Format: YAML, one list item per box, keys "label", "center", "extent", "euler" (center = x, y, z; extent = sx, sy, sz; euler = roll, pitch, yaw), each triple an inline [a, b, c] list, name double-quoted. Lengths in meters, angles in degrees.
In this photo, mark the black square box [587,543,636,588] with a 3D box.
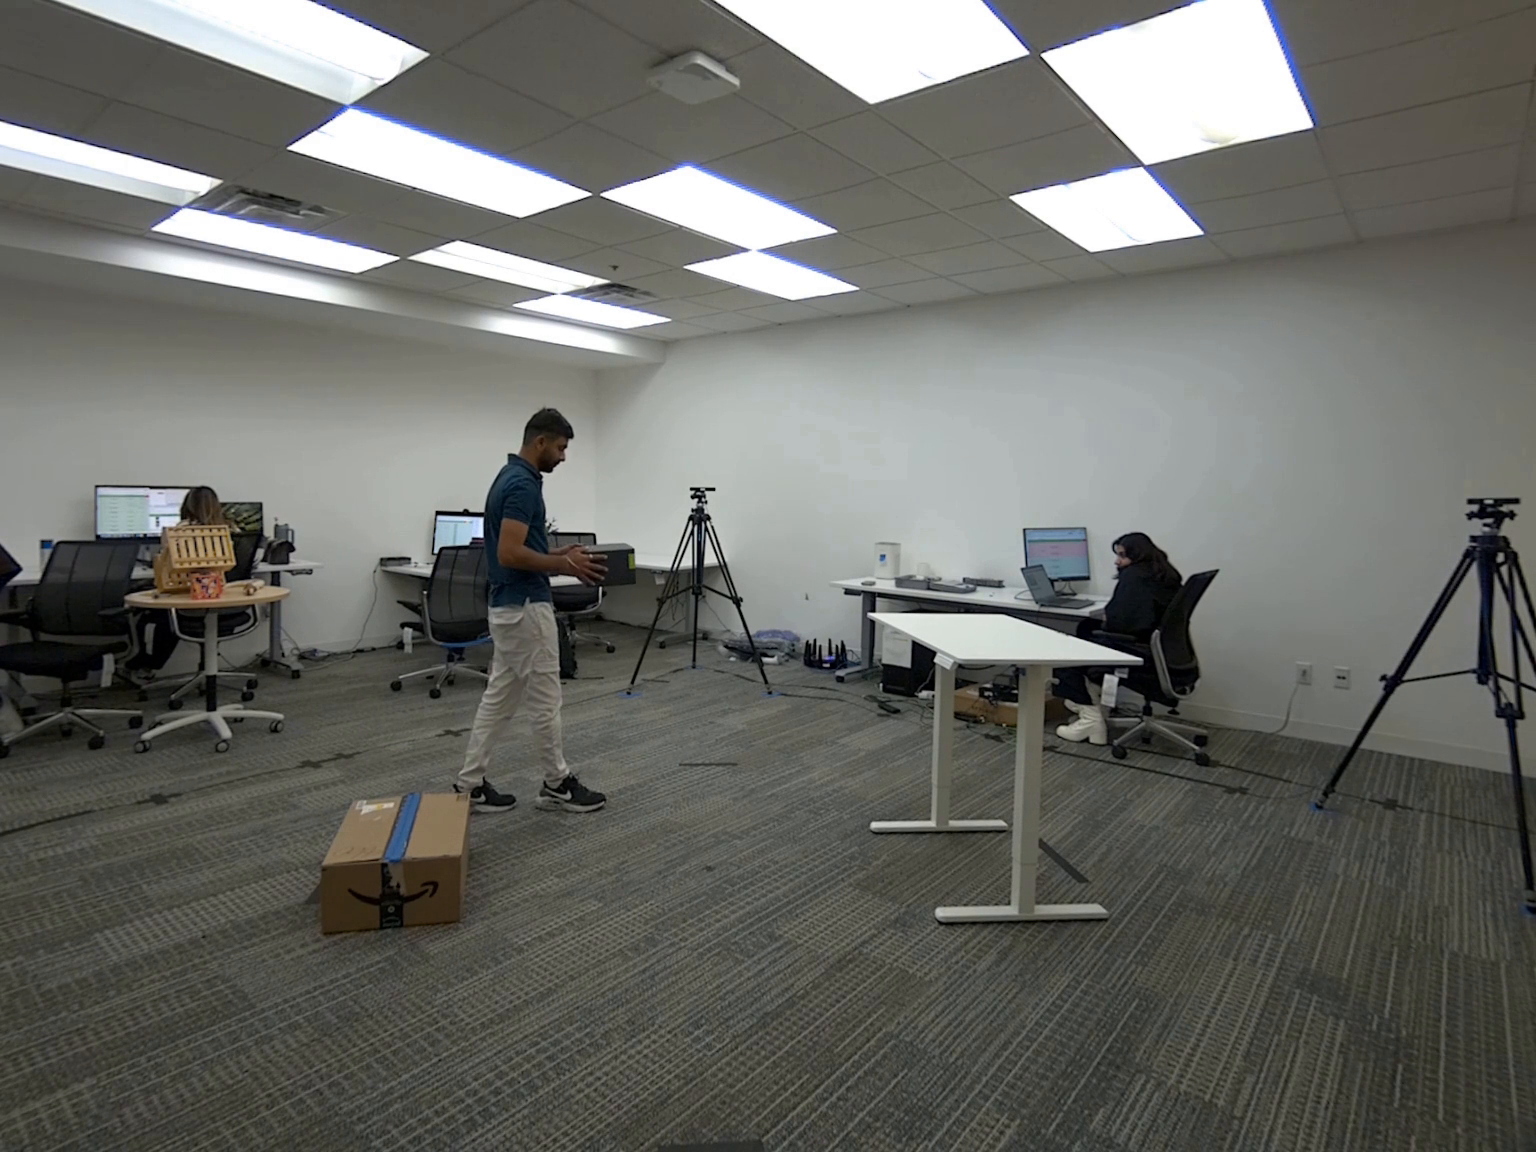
- label: "black square box"
  center: [-0.709, -0.057, 3.717]
  extent: [0.215, 0.155, 0.232]
  euler: [-4, 9, -10]
